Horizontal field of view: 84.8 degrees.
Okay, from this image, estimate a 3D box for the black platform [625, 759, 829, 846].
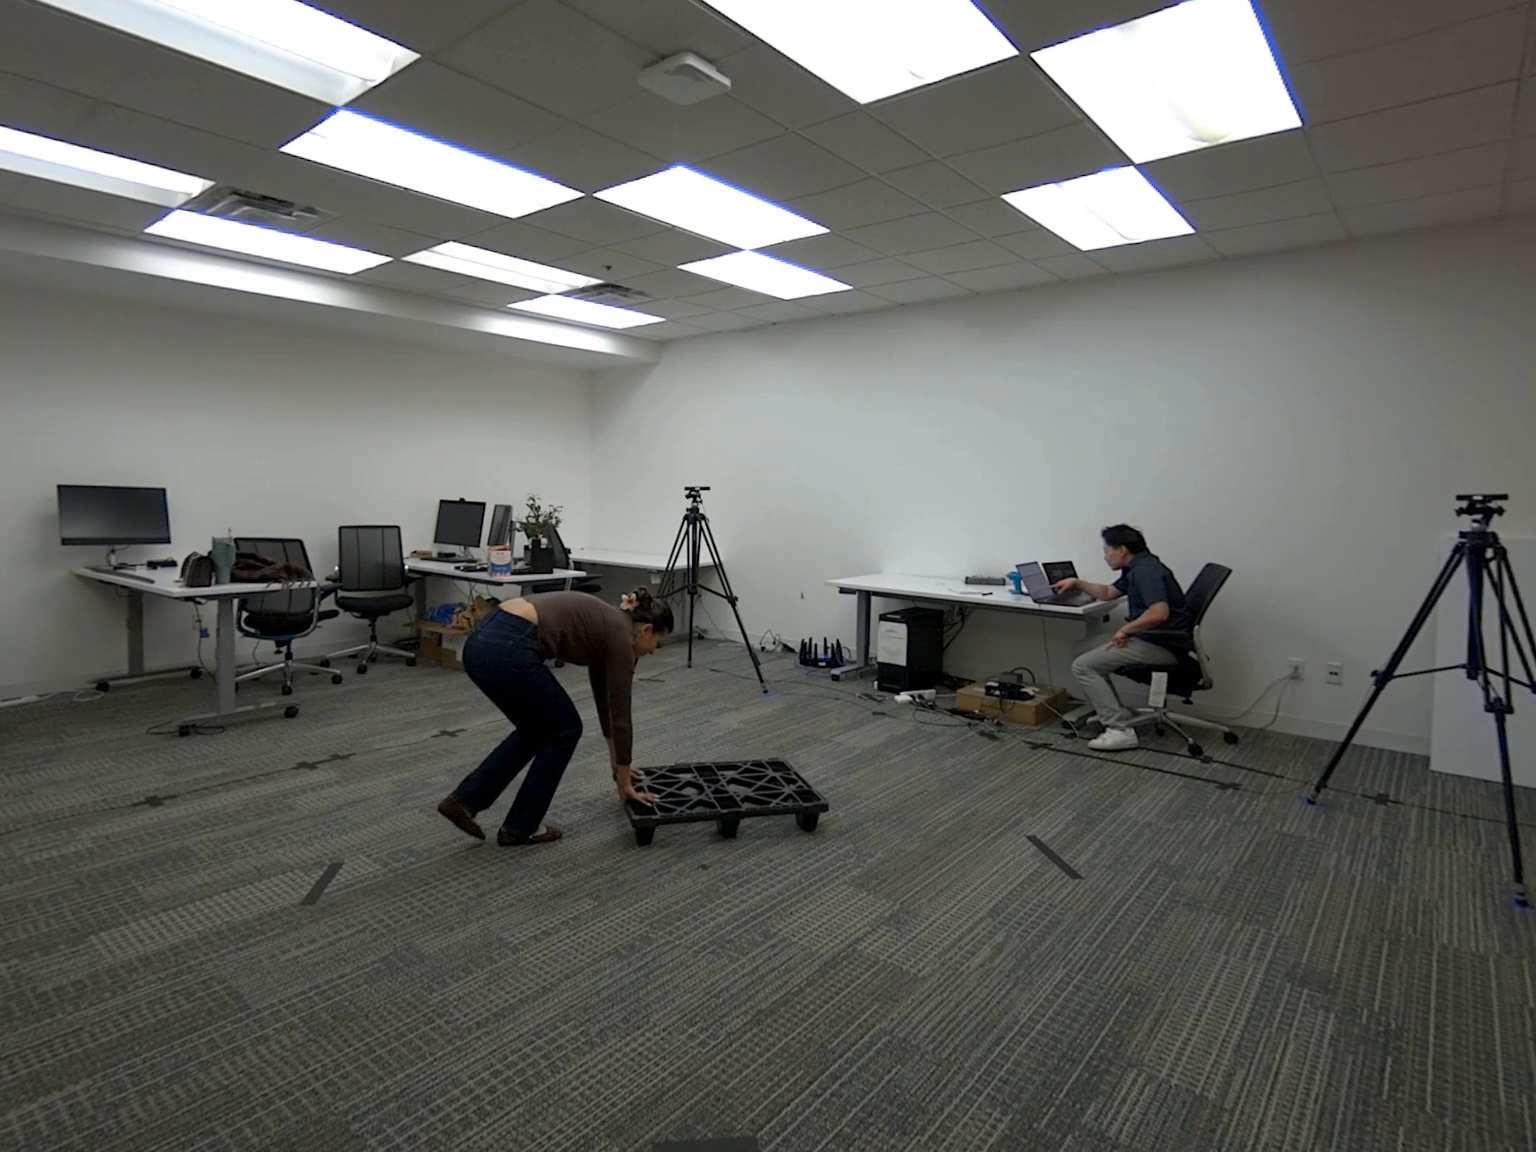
[{"bbox_3d":[-0.236,0.946,3.605,0.794,0.143,0.616,-1,5,-15],"label":"black platform"}]
